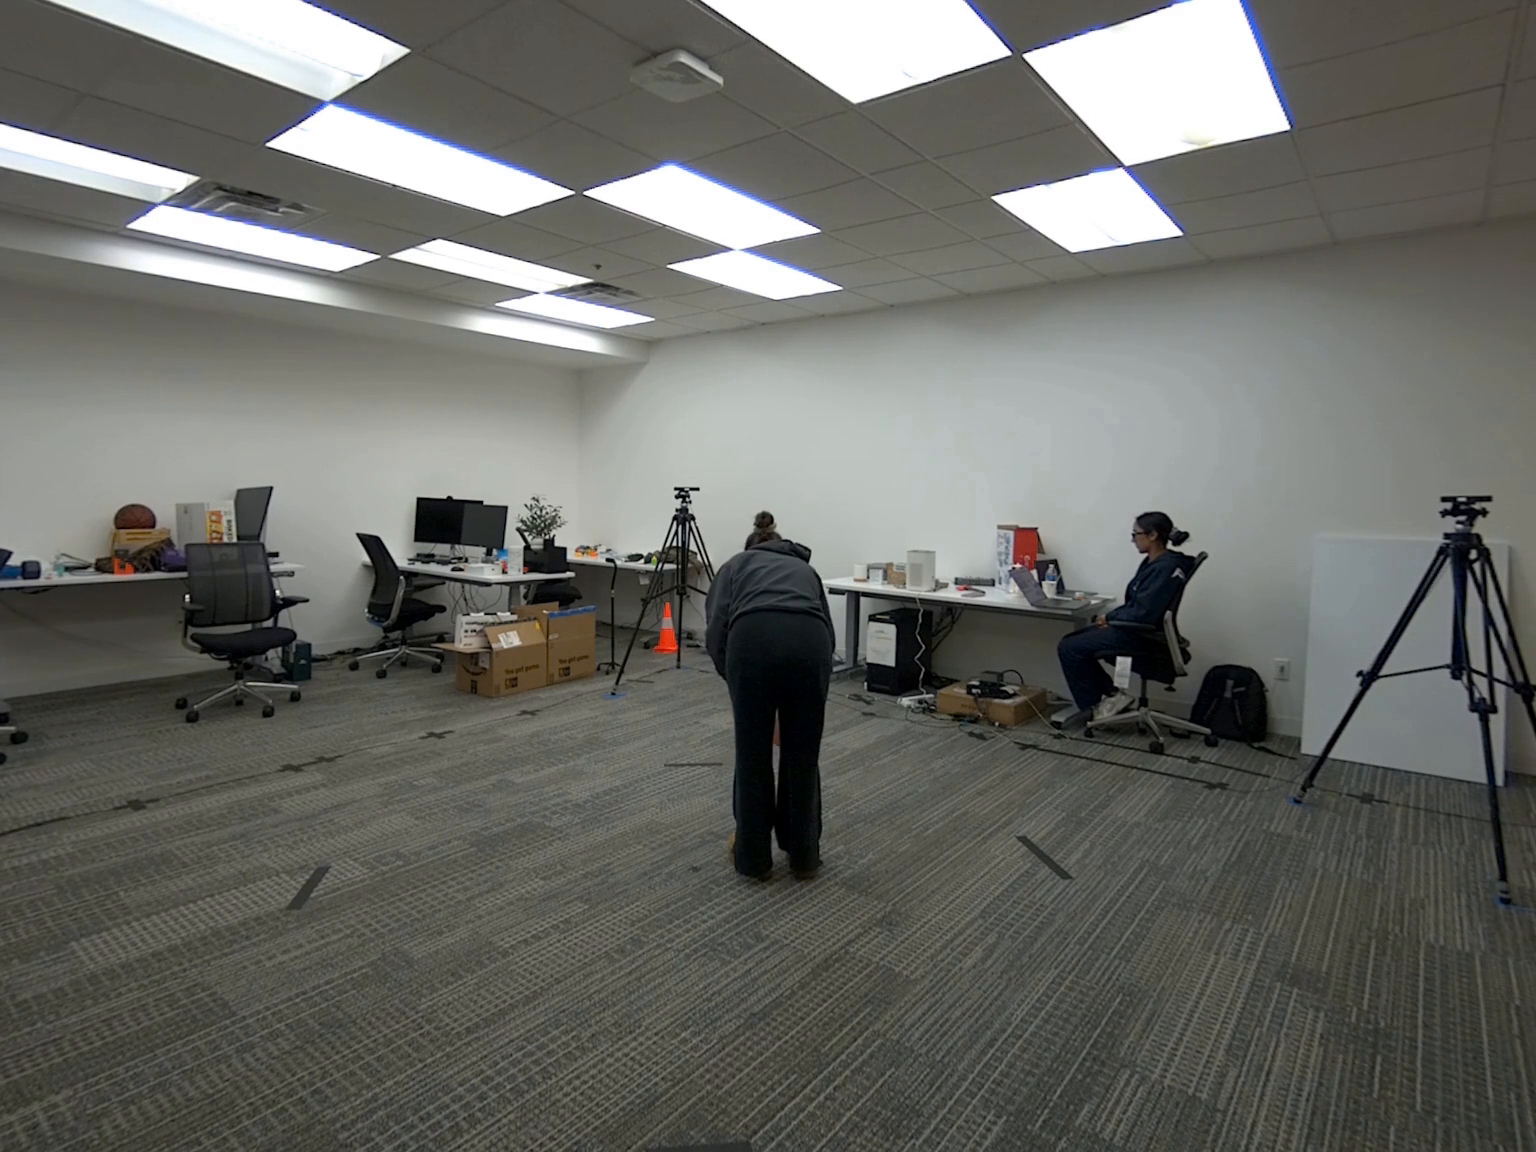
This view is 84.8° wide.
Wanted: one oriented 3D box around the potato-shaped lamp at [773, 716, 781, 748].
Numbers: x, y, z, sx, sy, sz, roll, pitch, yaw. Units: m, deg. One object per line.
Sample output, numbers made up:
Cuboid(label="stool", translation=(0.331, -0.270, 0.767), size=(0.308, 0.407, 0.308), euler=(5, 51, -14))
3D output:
Cuboid(label="potato-shaped lamp", translation=(0.088, 0.584, 3.483), size=(0.170, 0.195, 0.169), euler=(2, 21, -9))
